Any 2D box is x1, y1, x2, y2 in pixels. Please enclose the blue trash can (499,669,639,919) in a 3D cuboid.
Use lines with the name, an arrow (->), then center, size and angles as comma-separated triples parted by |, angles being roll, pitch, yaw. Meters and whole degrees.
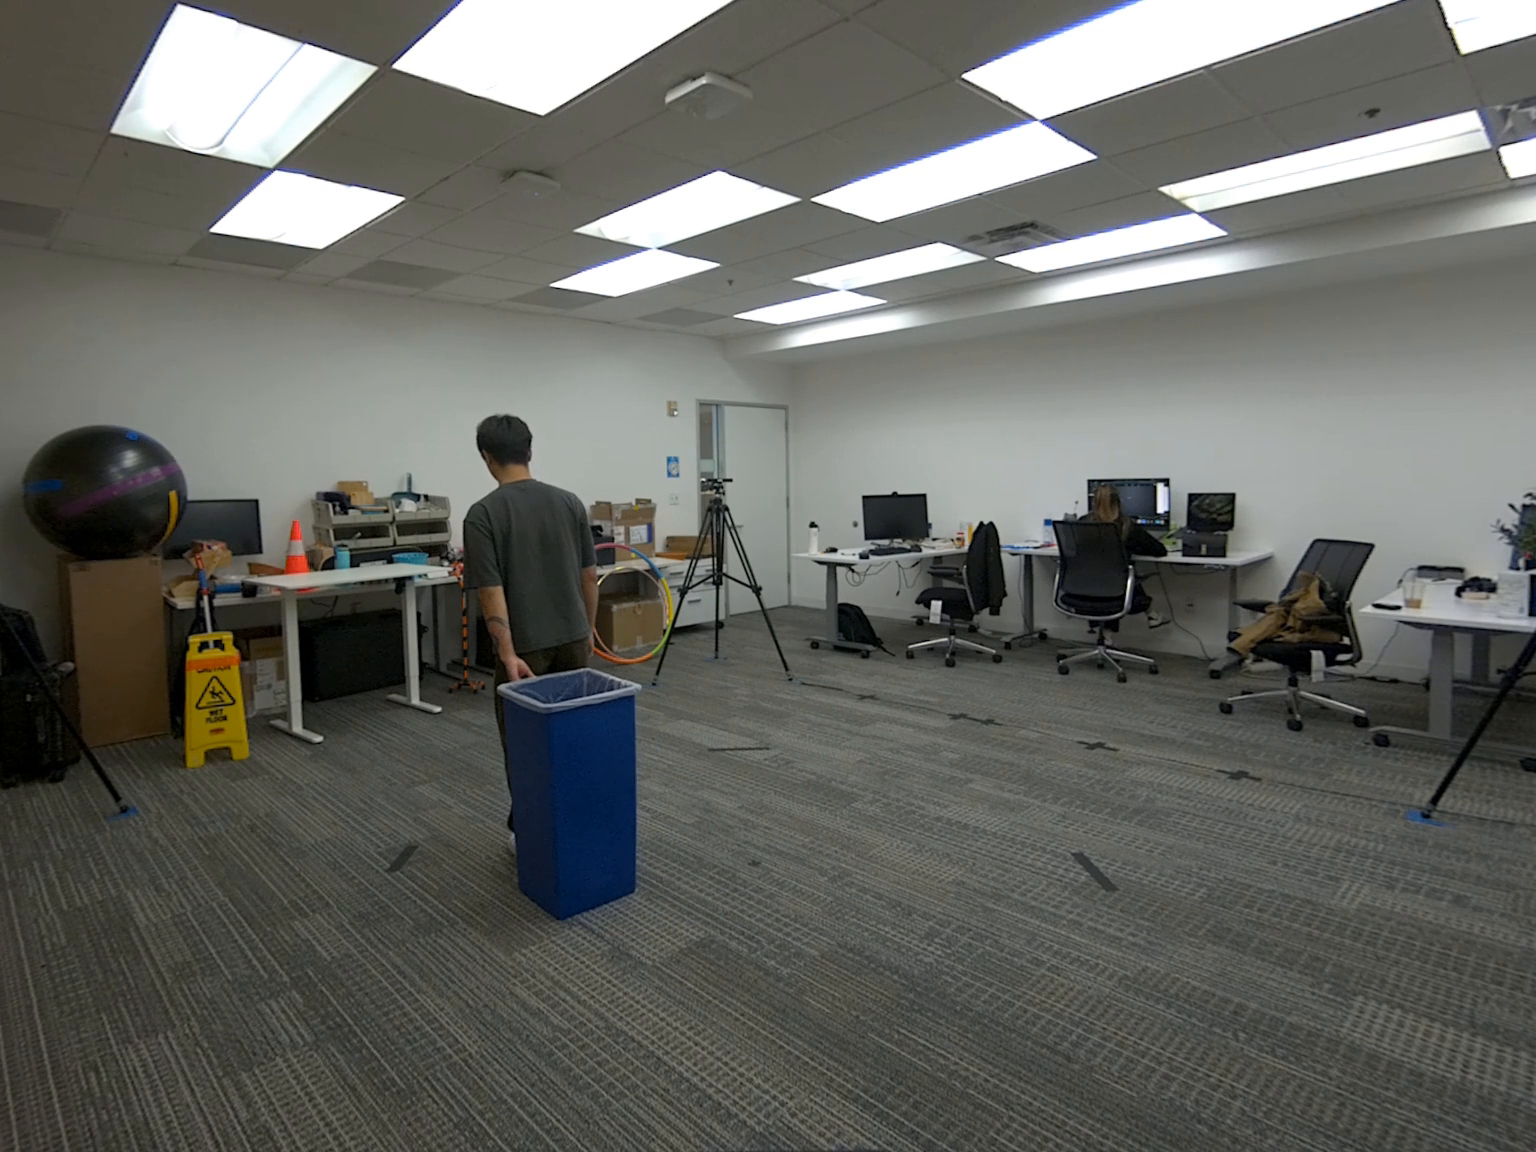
blue trash can -> -0.659, 0.721, 2.894 | 0.364, 0.711, 0.389 | -5, 6, -41
